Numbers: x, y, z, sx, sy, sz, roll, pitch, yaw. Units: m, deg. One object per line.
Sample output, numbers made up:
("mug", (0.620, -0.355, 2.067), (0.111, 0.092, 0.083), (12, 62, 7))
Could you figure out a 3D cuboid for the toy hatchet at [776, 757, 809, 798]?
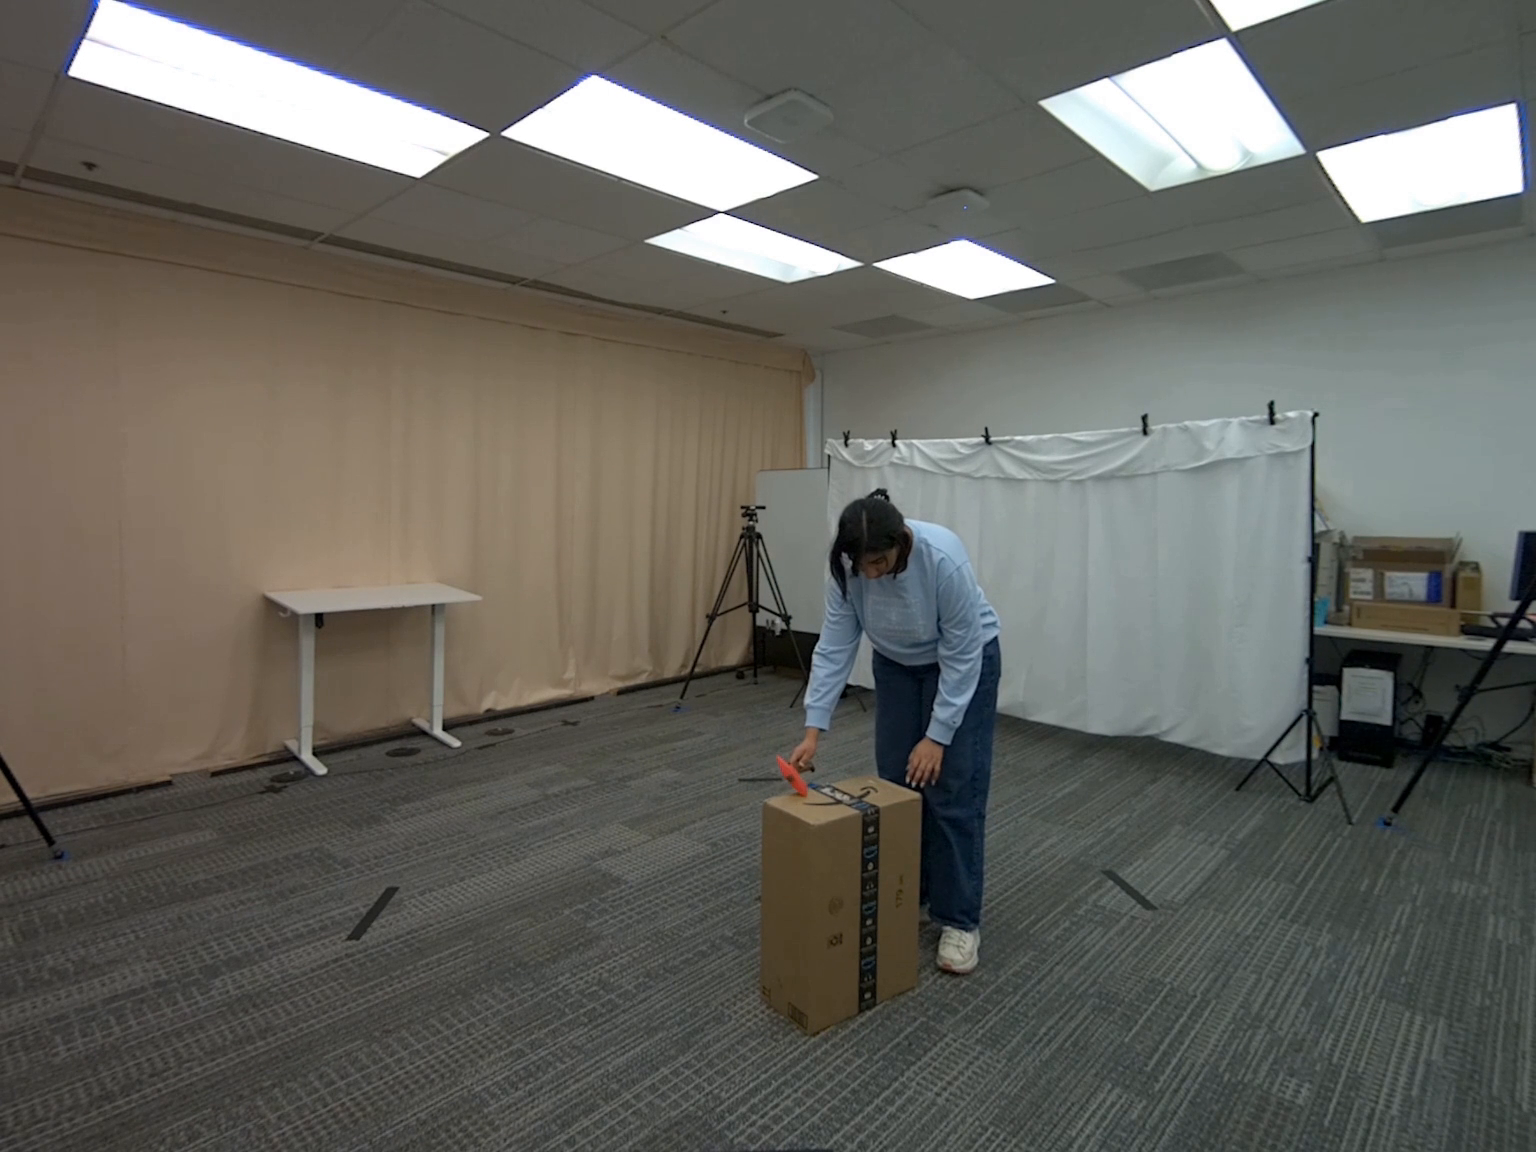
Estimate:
("toy hatchet", (0.116, 0.592, 2.503), (0.030, 0.134, 0.262), (-39, -21, 10))
